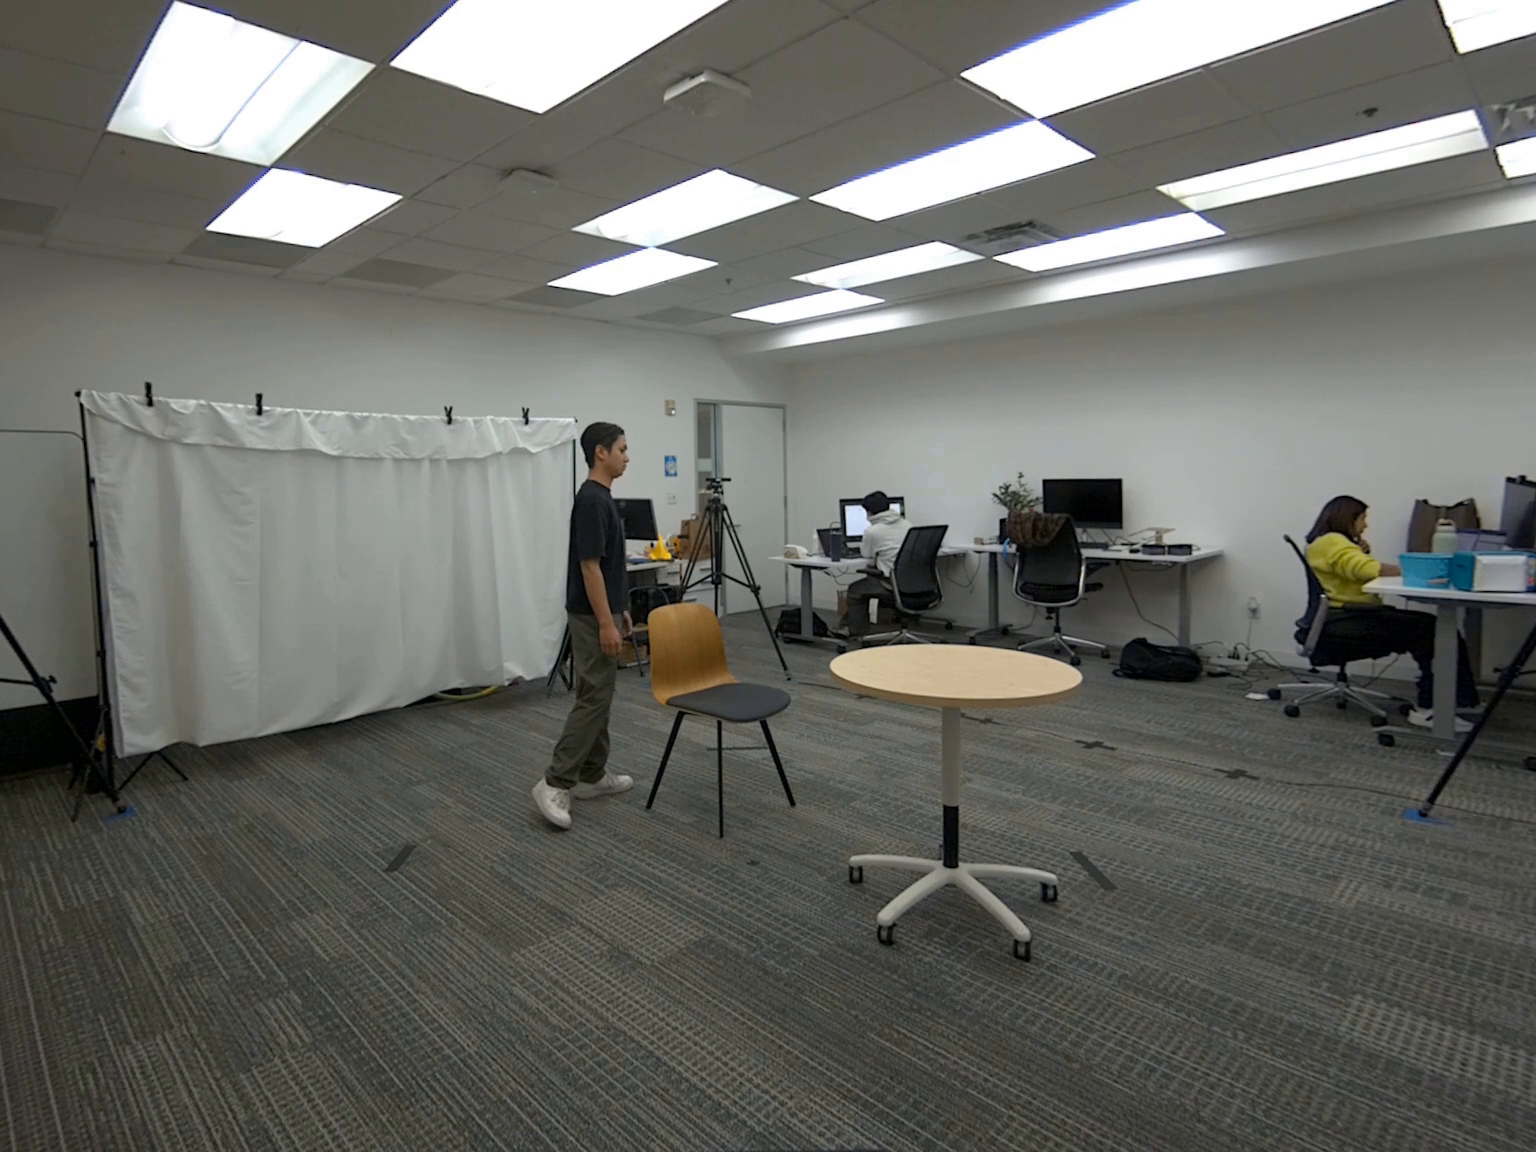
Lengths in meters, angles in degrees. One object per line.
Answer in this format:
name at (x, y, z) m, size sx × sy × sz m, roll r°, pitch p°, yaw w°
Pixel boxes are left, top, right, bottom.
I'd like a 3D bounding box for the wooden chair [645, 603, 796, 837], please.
wooden chair at (-0.203, 0.558, 3.597) m, size 0.537 × 0.877 × 0.465 m, roll -3°, pitch 1°, yaw 44°
